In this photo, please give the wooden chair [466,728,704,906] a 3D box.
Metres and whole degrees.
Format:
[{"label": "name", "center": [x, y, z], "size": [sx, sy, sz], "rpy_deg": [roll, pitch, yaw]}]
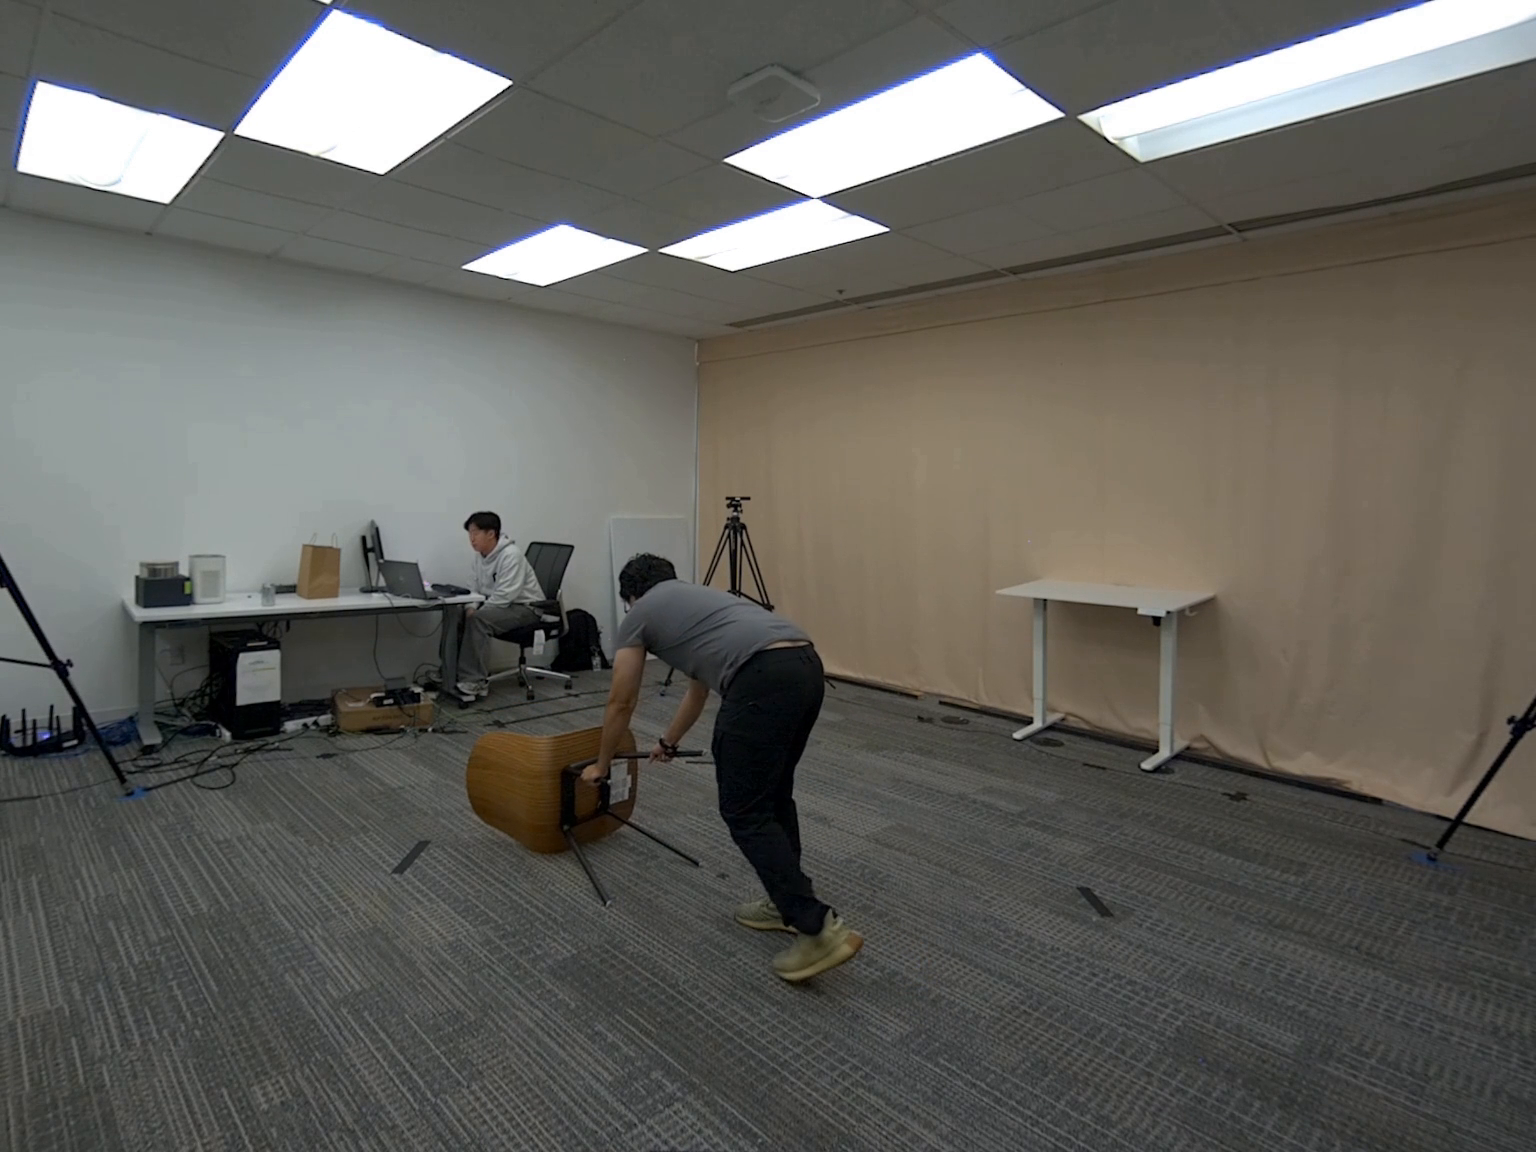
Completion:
[{"label": "wooden chair", "center": [-0.711, 0.847, 3.292], "size": [0.900, 0.476, 0.512], "rpy_deg": [7, 7, 38]}]
